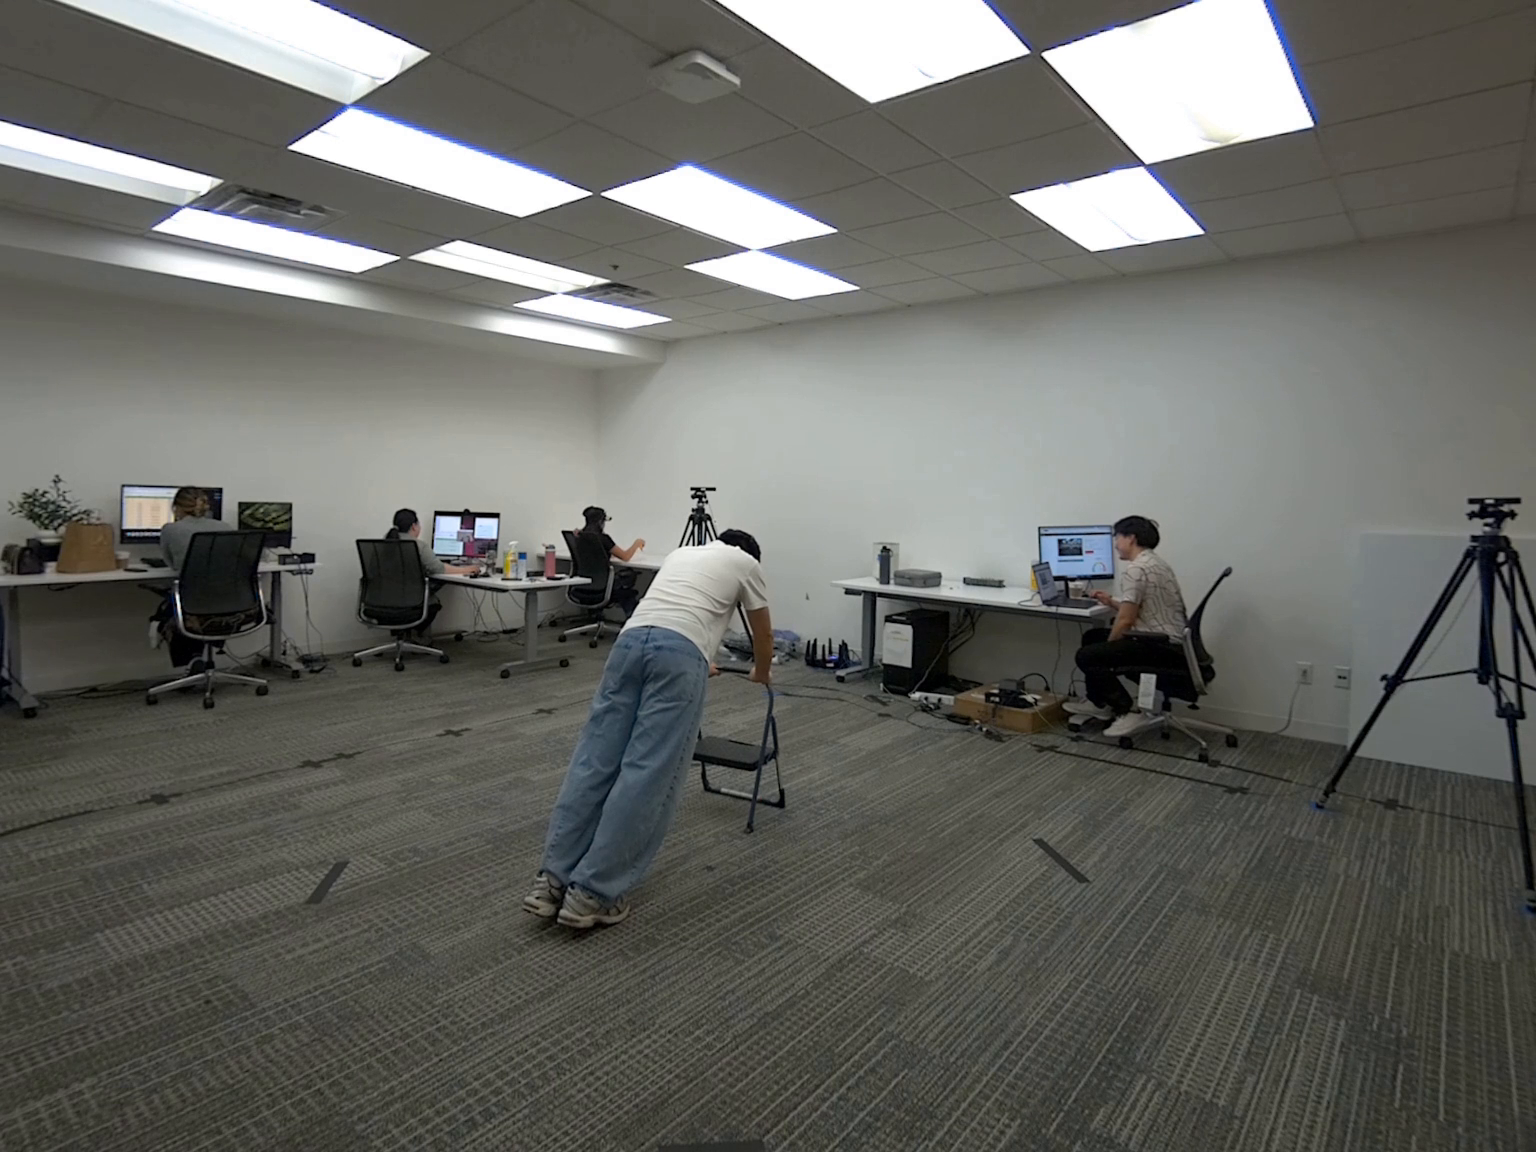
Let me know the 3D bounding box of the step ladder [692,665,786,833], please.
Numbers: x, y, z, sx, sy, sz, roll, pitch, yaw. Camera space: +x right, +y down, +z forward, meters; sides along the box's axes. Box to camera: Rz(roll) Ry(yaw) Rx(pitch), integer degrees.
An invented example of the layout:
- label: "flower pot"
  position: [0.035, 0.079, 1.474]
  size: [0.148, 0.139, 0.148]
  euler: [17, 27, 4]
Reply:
- label: "step ladder"
  position: [-0.182, 0.708, 3.677]
  size: [0.443, 0.605, 0.340]
  euler: [3, 3, 28]
